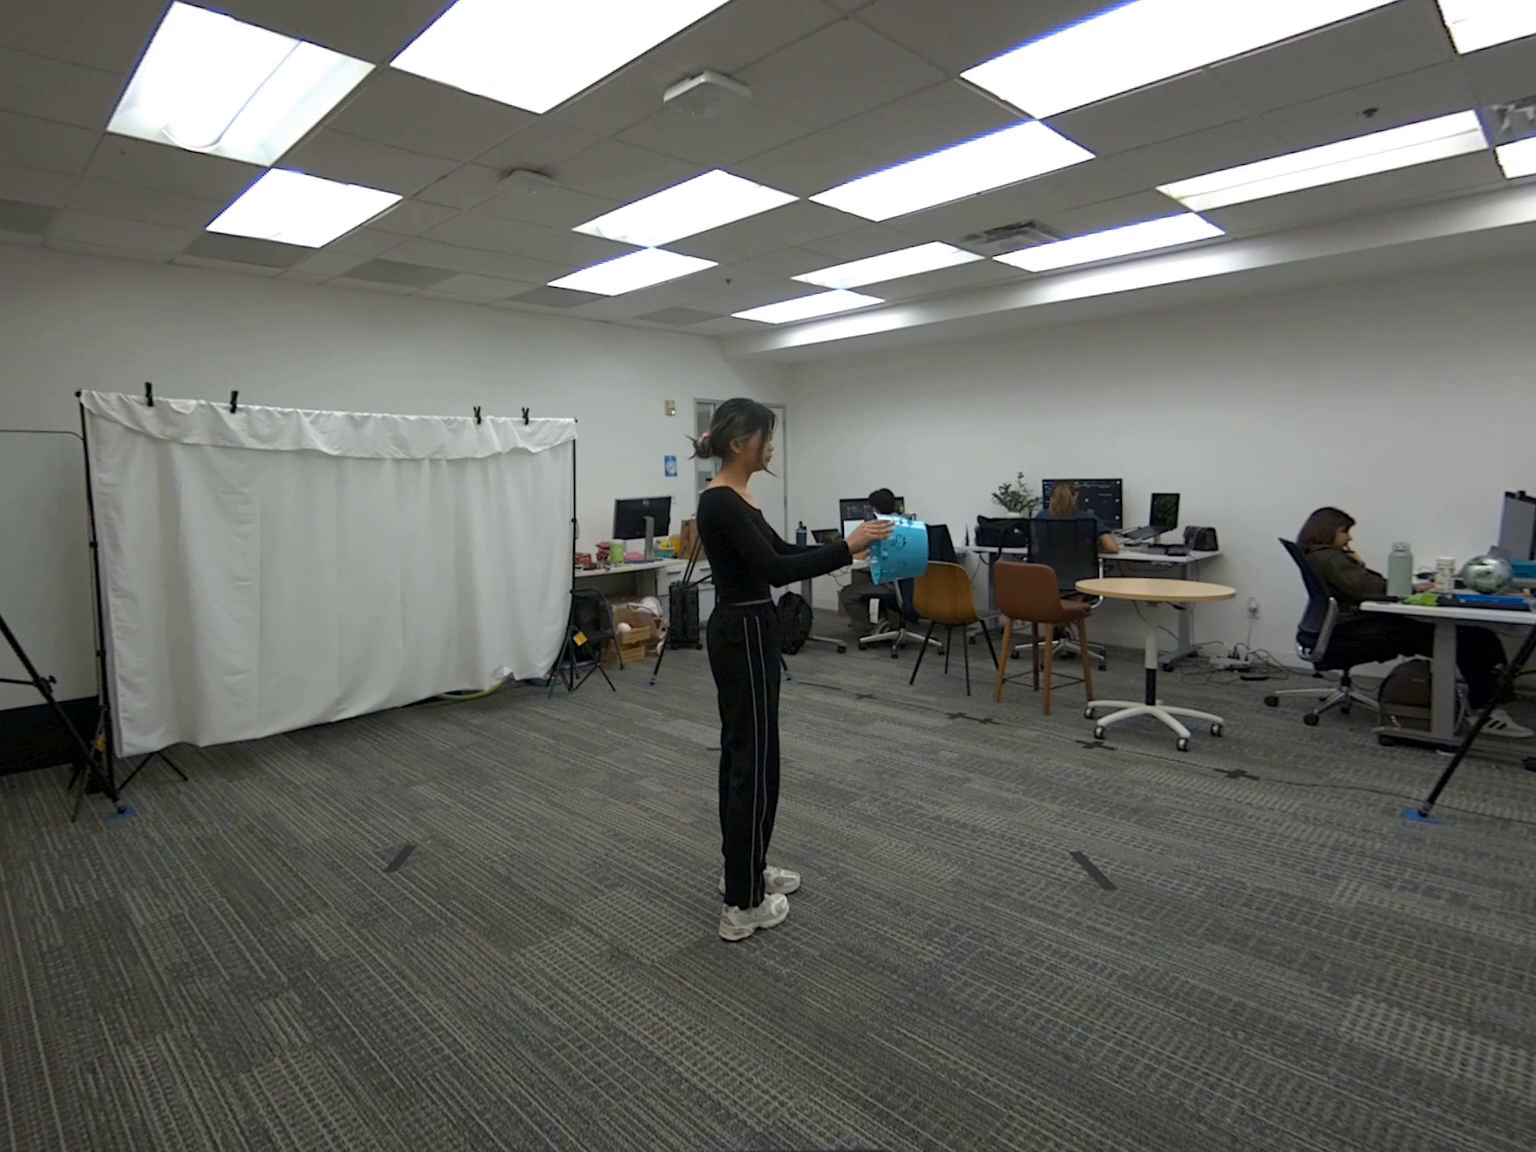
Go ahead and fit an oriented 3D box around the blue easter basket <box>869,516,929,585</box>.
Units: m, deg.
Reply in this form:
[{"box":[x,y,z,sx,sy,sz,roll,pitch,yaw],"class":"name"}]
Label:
[{"box":[0.416,-0.083,2.750,0.155,0.243,0.245,-2,5,-3],"class":"blue easter basket"}]
